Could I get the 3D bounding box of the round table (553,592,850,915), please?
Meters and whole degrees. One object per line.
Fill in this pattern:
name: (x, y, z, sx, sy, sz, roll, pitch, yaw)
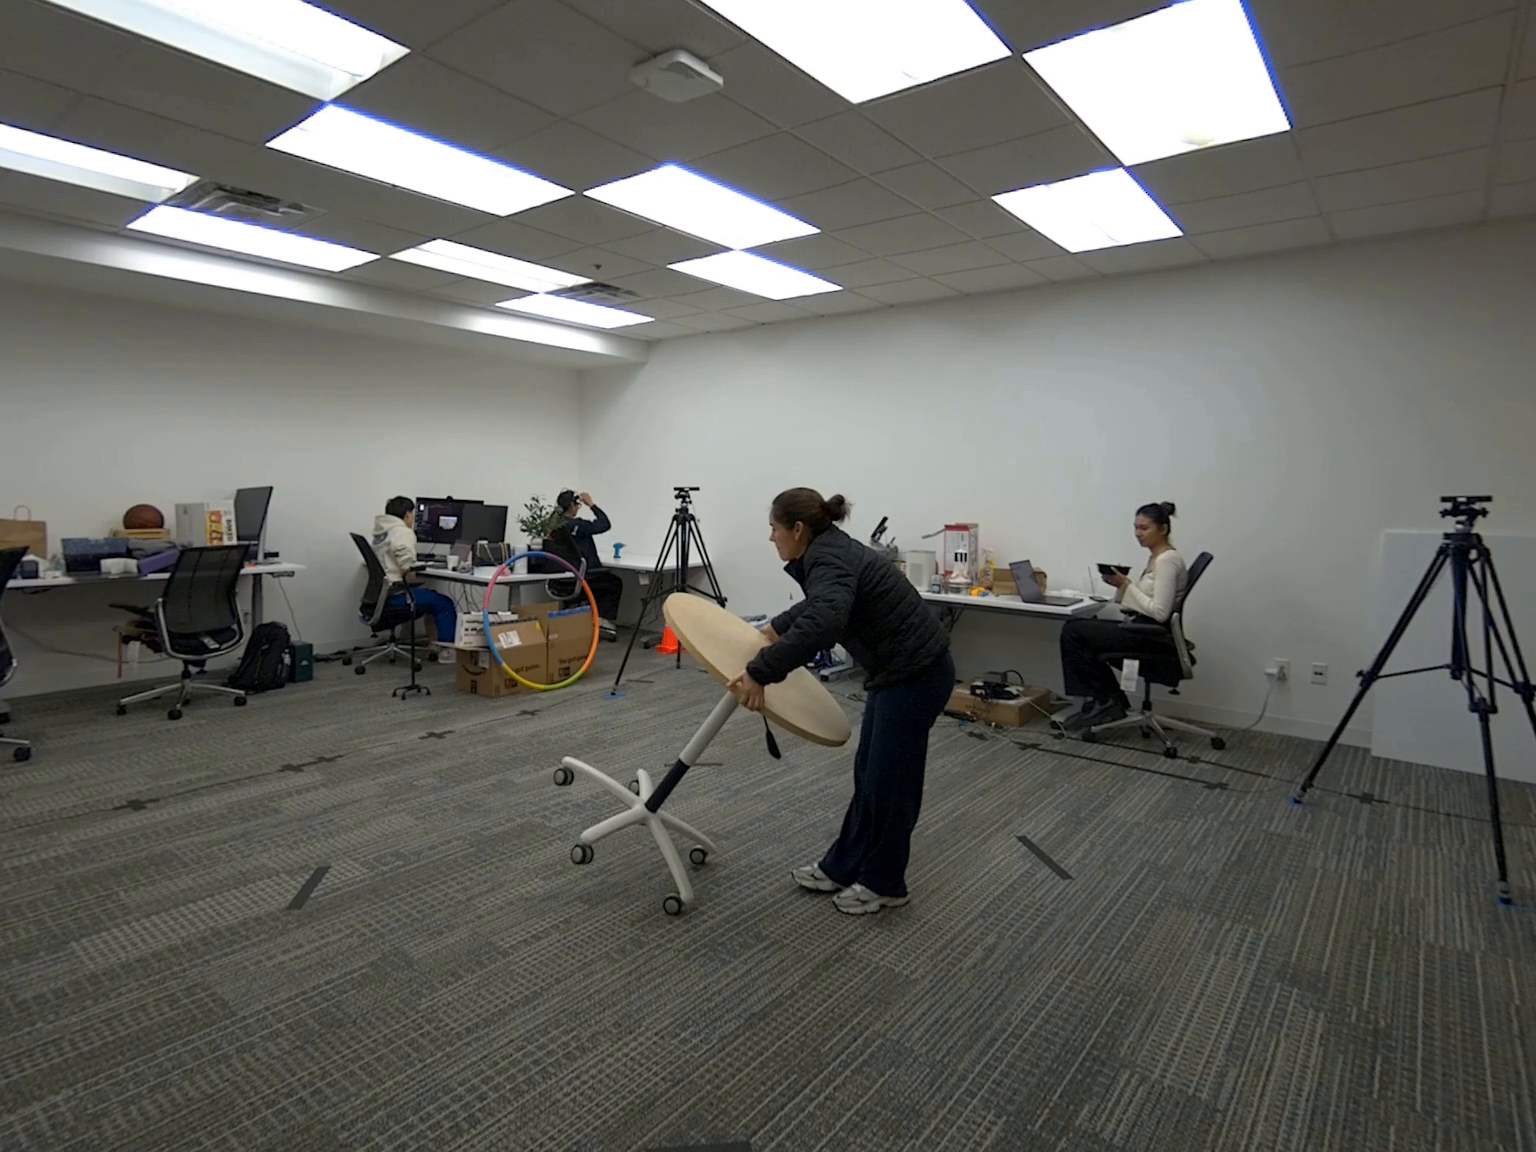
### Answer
round table: (-0.251, 0.610, 2.960, 0.777, 0.785, 0.795, 34, 9, -9)
